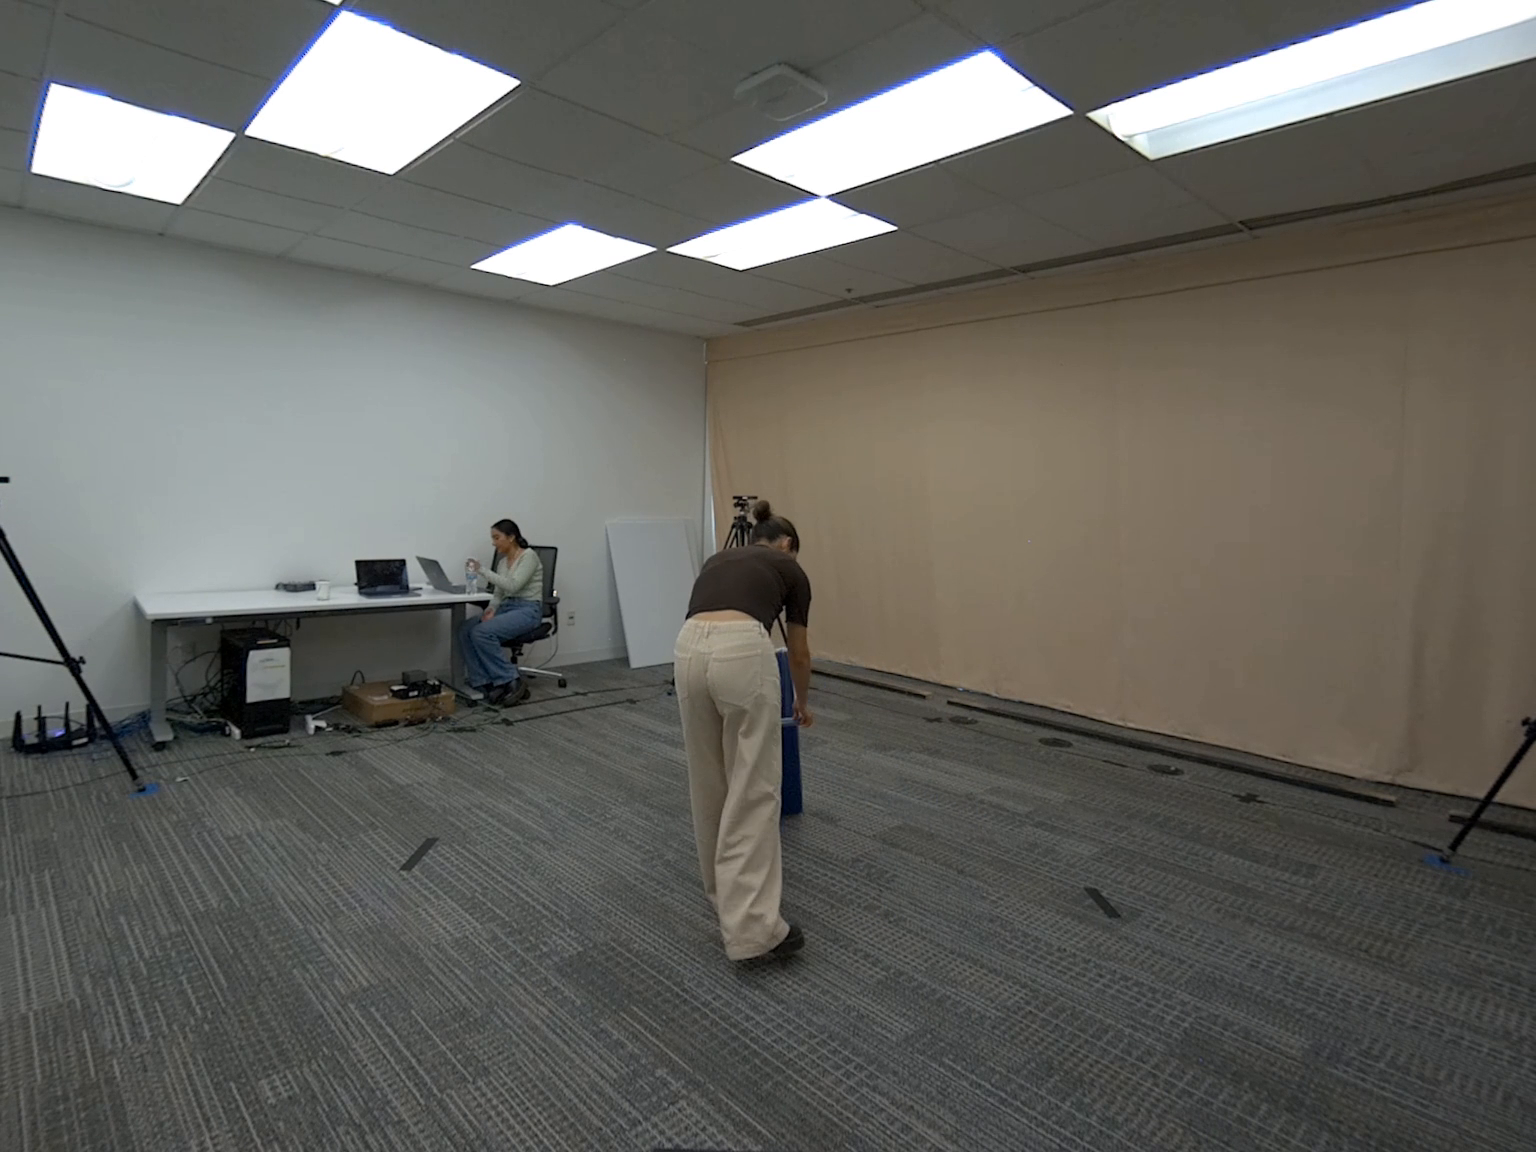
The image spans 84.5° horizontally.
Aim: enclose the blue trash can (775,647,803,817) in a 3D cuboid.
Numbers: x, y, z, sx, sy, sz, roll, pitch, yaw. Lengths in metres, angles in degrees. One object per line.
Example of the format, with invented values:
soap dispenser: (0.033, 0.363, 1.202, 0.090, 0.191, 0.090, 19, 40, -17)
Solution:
blue trash can: (-0.028, 0.696, 3.520, 0.379, 0.696, 0.382, -5, 42, 3)
